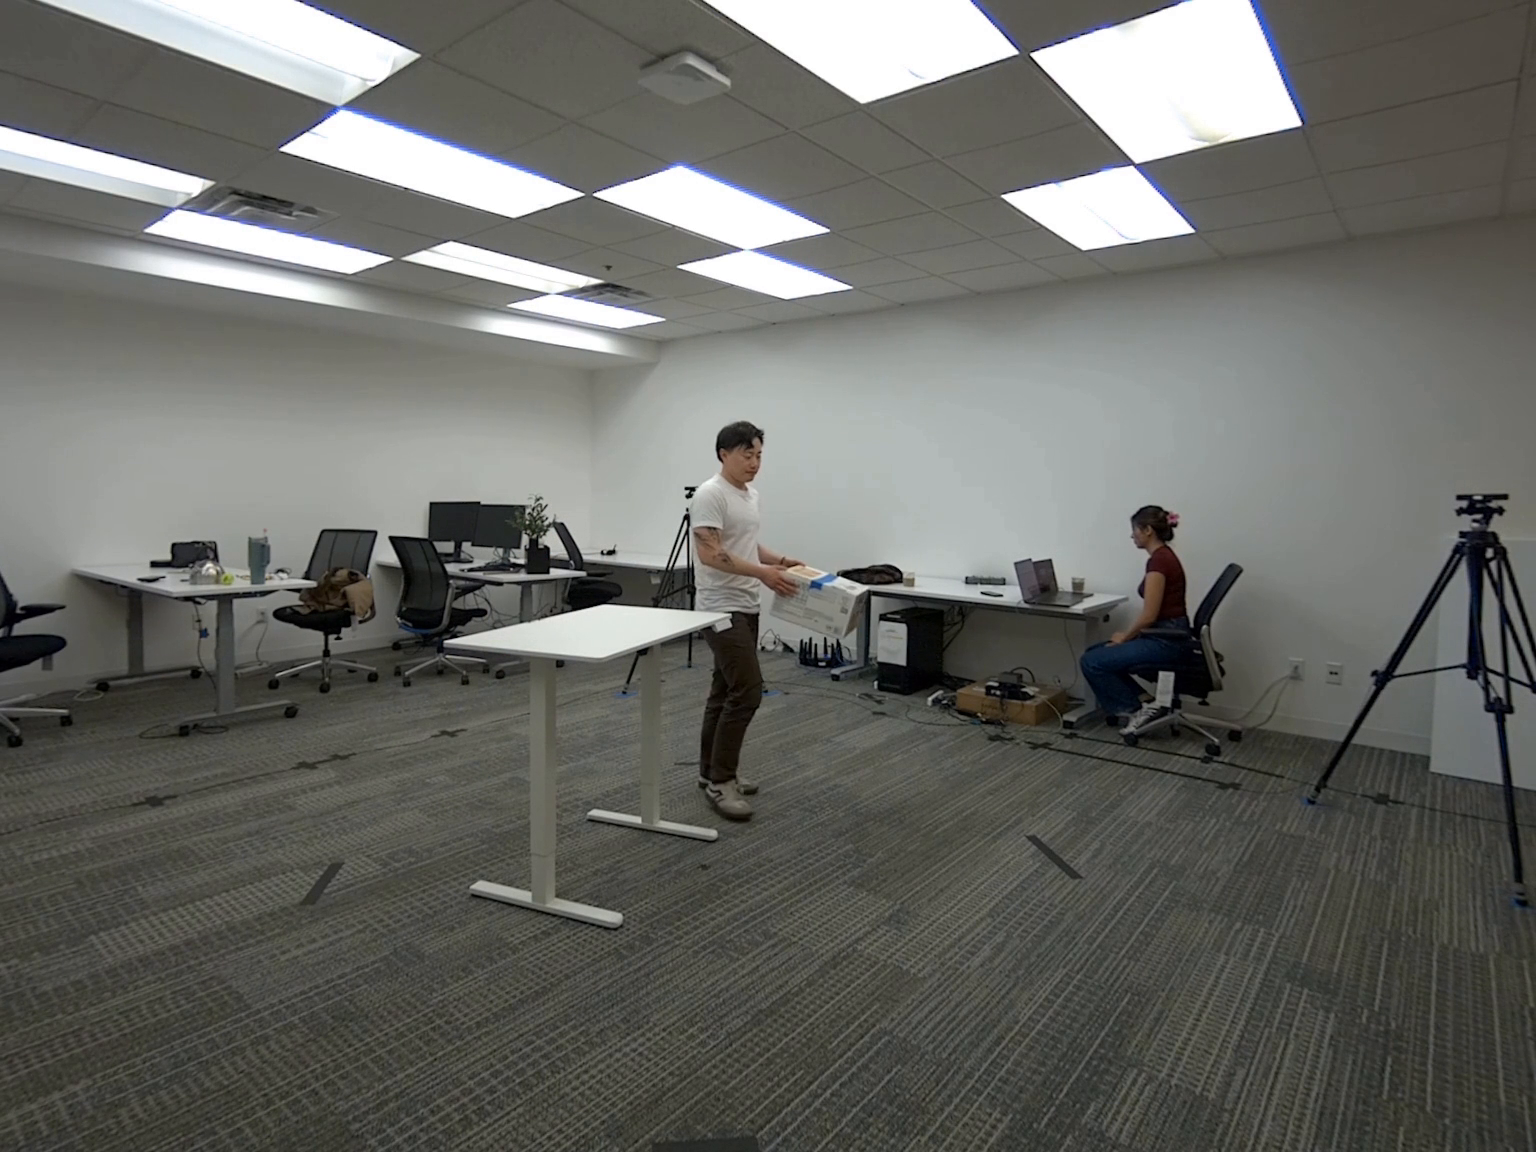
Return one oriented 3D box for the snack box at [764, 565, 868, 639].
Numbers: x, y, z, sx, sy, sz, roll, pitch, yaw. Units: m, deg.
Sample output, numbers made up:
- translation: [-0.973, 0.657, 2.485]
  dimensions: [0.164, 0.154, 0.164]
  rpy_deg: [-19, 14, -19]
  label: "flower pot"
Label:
- translation: [0.229, 0.104, 3.773]
  dimensions: [0.348, 0.205, 0.399]
  rpy_deg: [17, 8, 15]
  label: "snack box"
